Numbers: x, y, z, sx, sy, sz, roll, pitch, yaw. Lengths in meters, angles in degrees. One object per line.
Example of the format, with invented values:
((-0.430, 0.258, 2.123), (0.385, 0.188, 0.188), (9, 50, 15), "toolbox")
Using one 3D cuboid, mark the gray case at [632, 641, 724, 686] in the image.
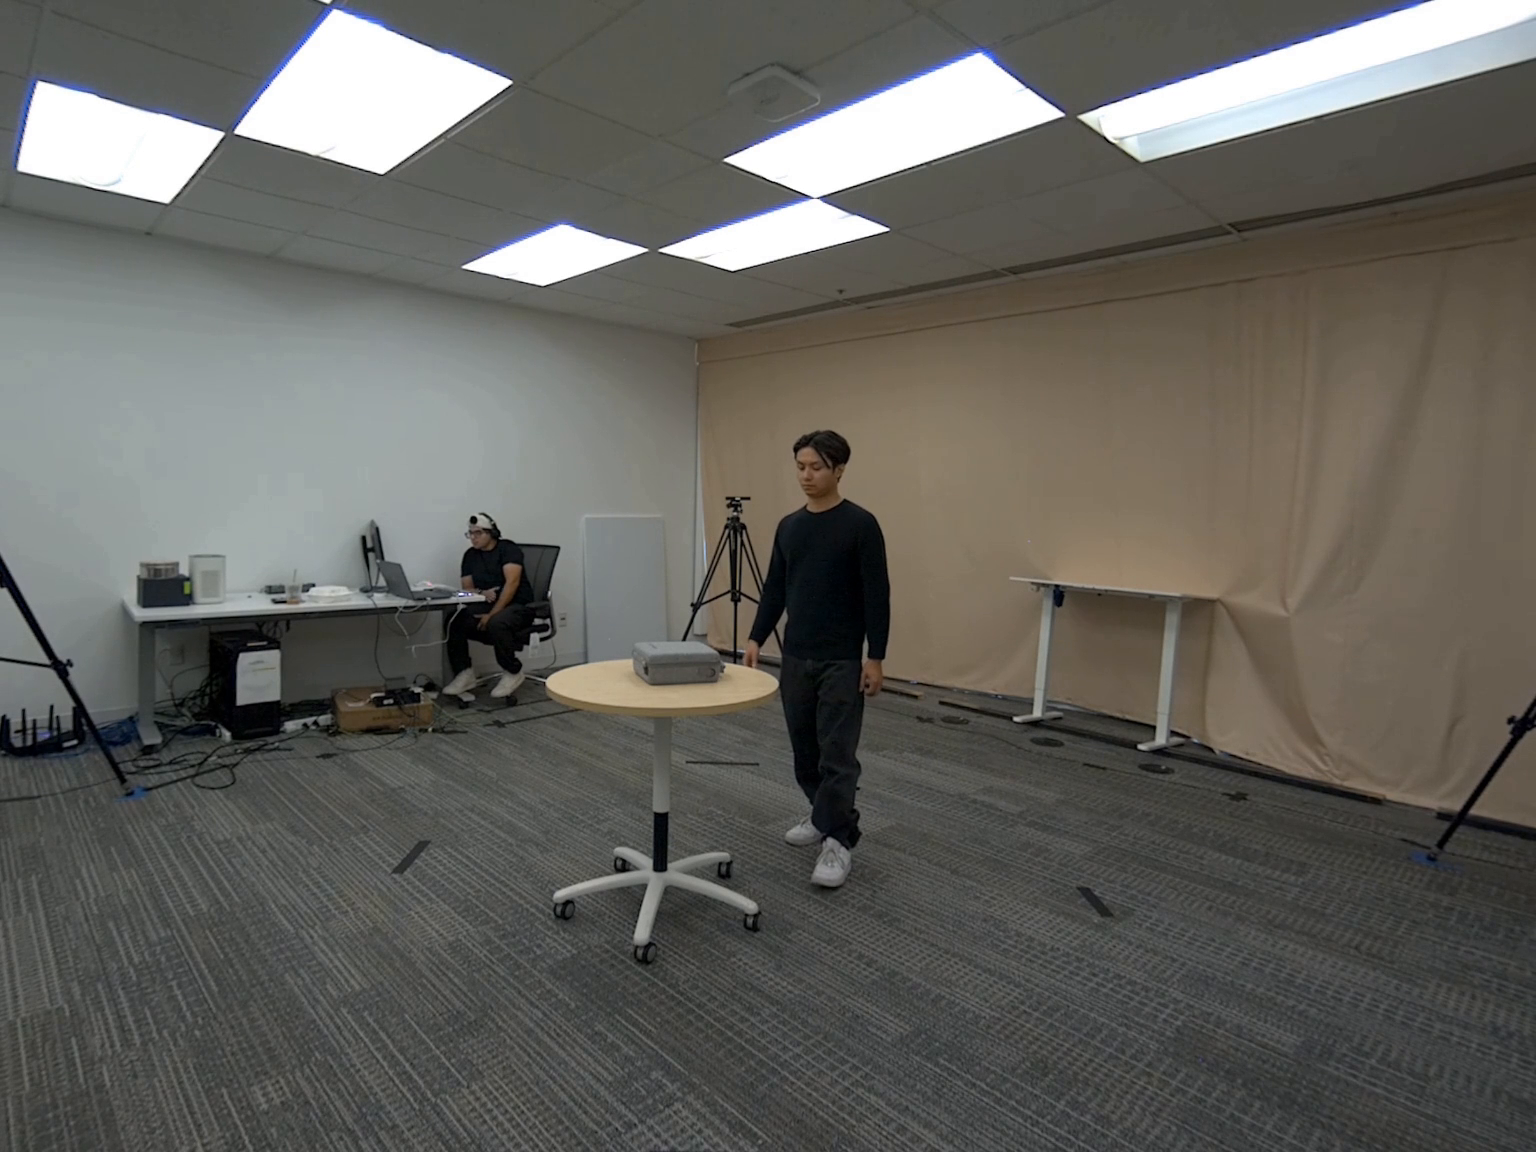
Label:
((-0.313, 0.289, 2.846), (0.257, 0.104, 0.261), (0, 4, -21), "gray case")
